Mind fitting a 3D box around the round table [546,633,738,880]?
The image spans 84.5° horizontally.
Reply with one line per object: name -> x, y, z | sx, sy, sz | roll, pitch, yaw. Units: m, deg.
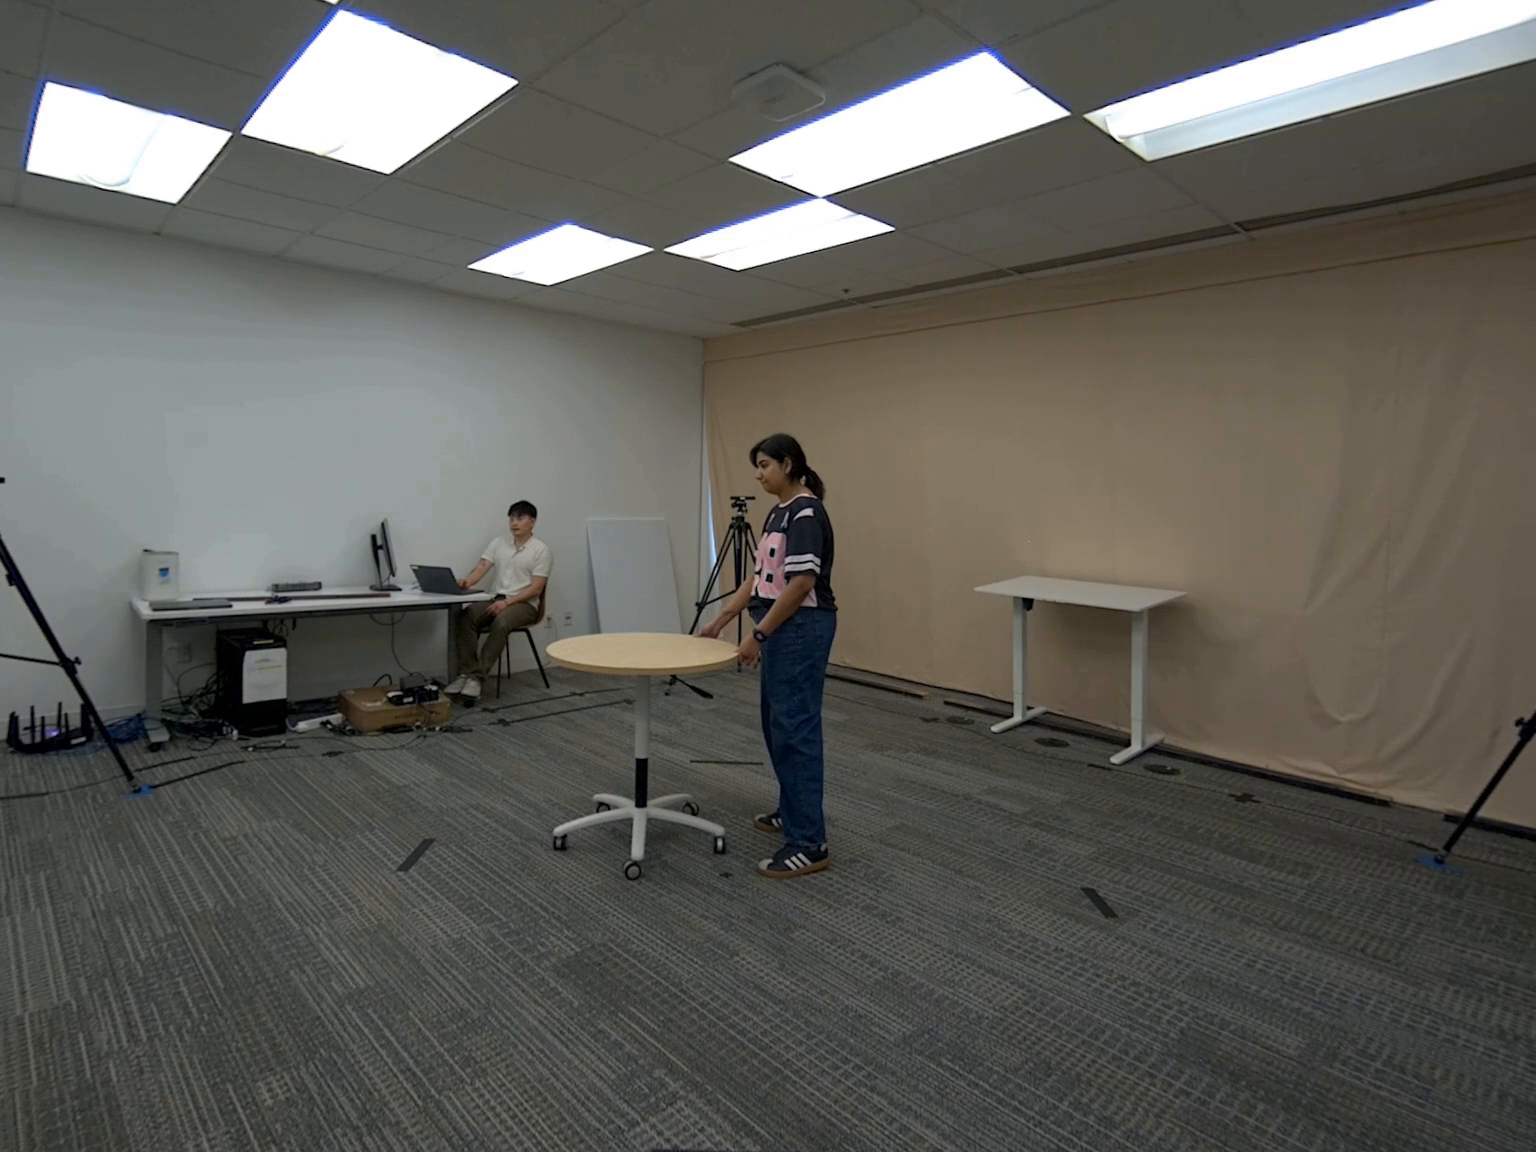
round table -> -0.514, 0.681, 3.383 | 0.763, 0.792, 0.766 | 1, 4, -1
